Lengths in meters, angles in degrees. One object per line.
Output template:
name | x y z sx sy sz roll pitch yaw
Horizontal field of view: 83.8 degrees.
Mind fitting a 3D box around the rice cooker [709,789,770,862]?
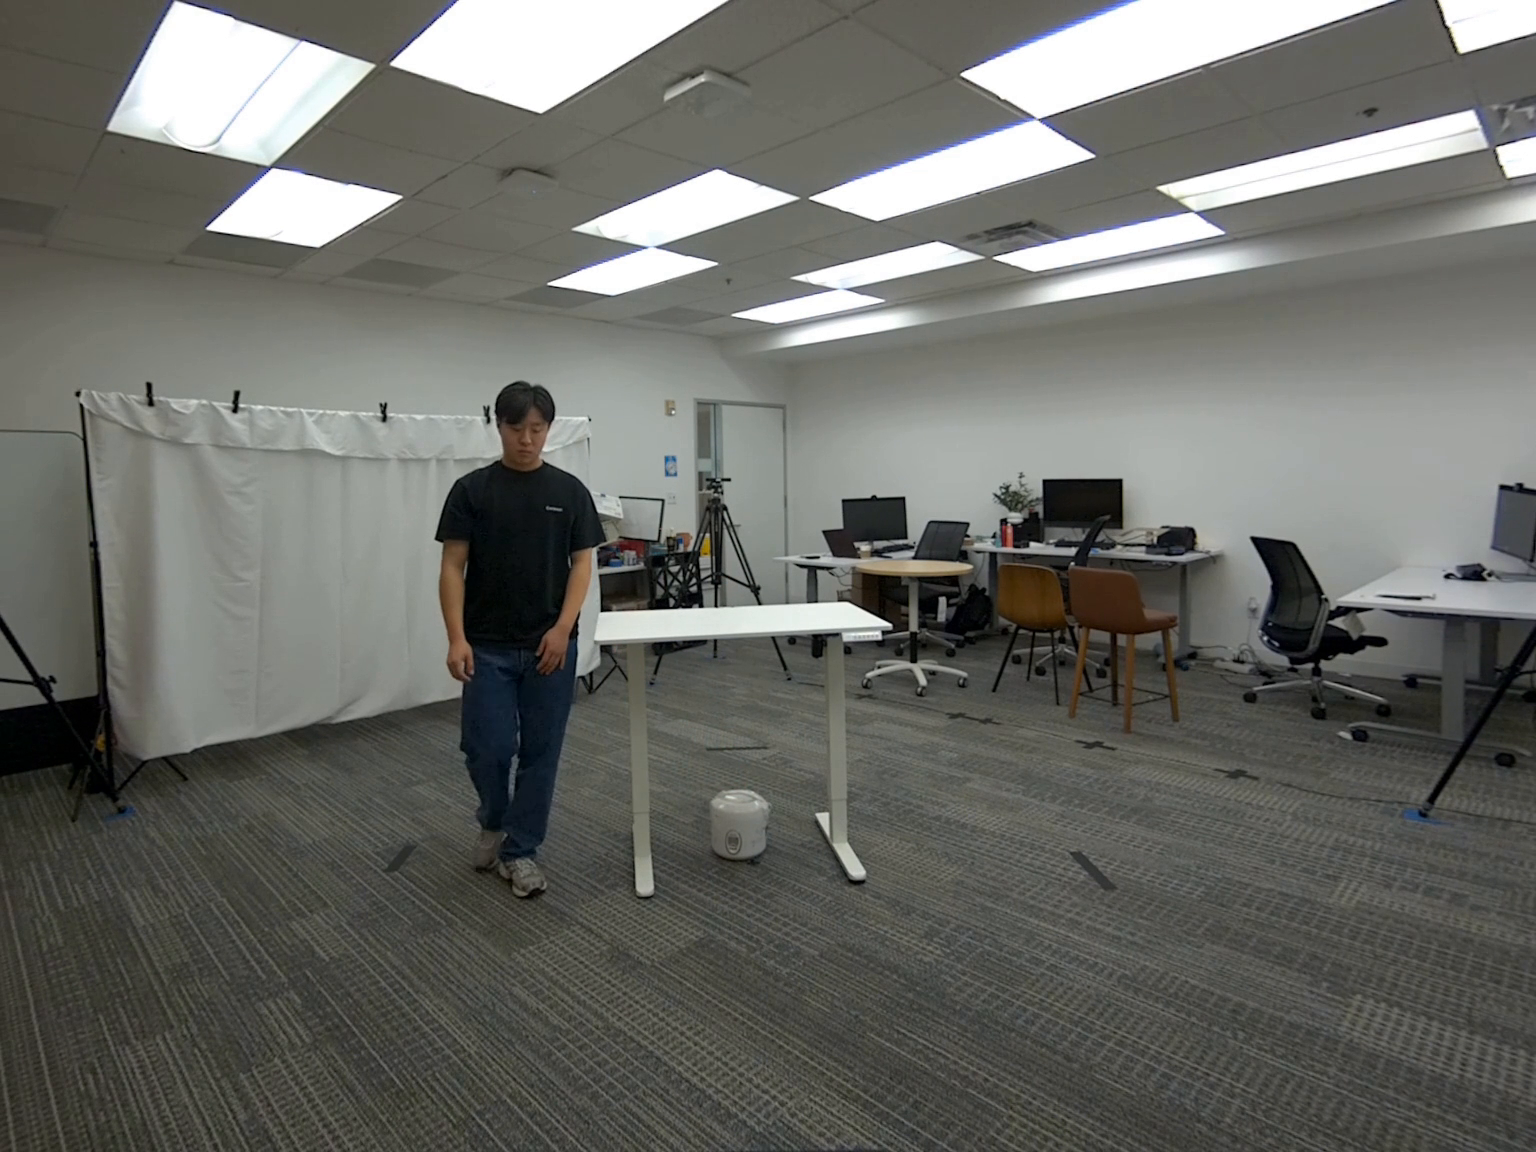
rice cooker | -0.103 0.914 3.197 0.223 0.232 0.215 0 3 11
